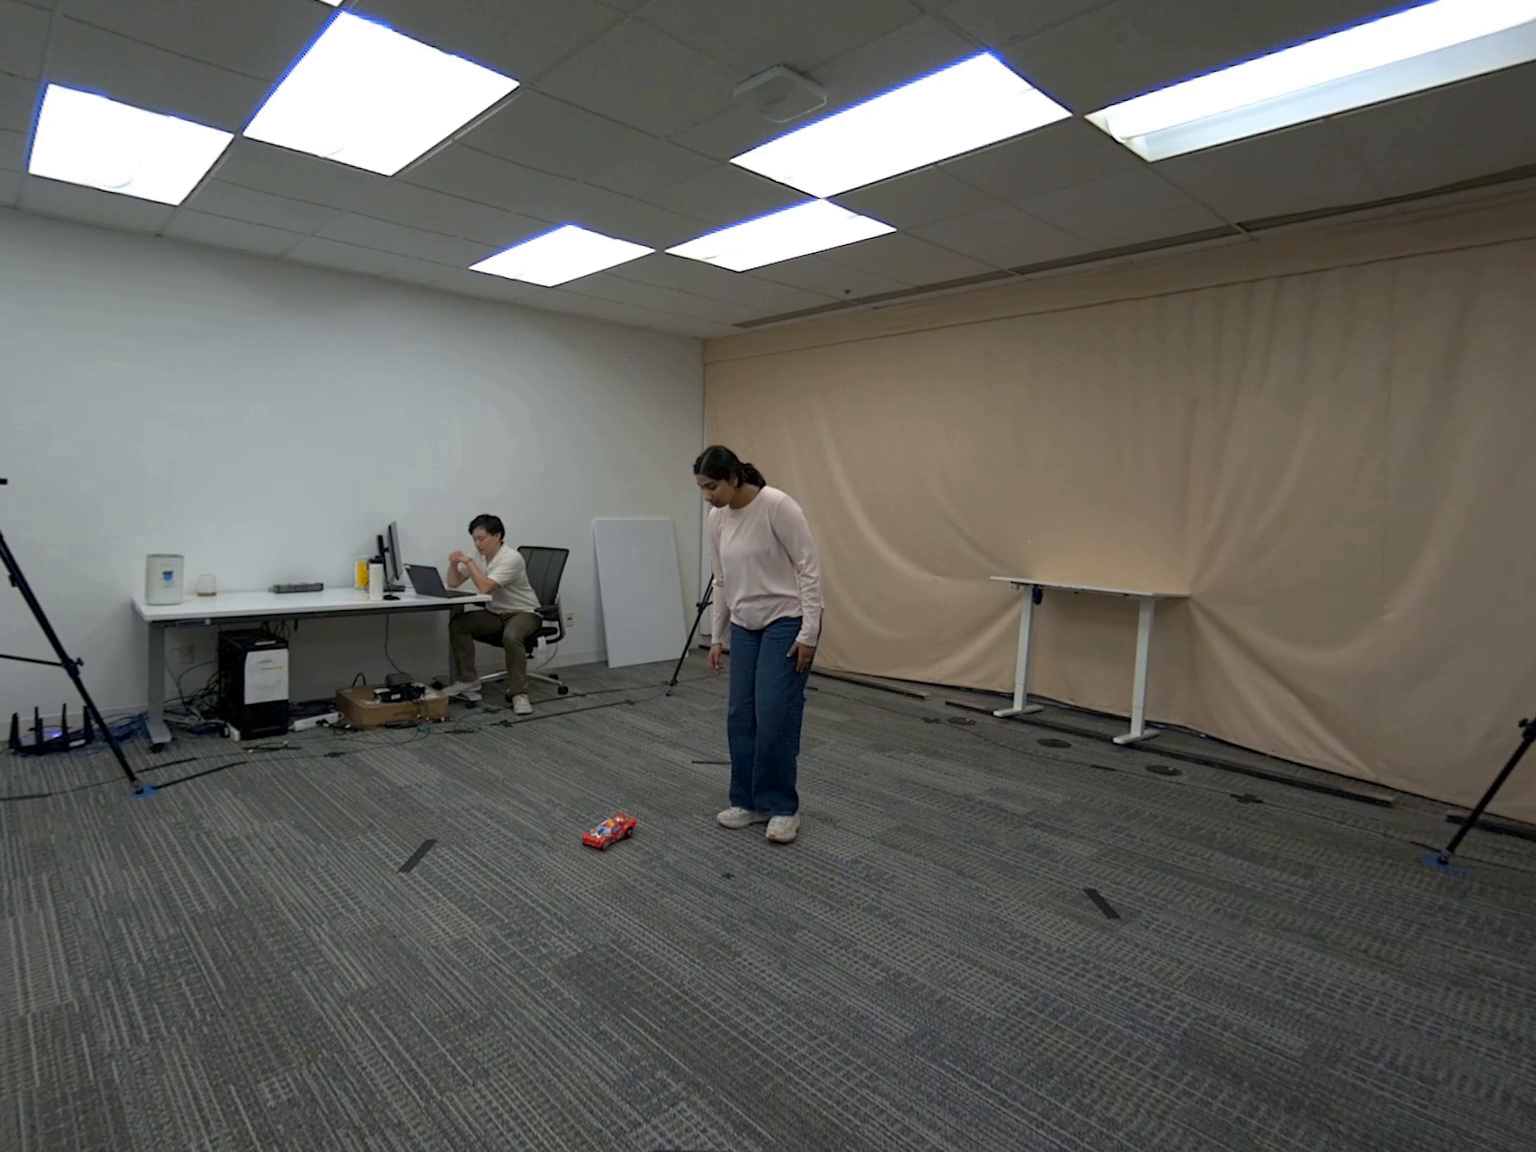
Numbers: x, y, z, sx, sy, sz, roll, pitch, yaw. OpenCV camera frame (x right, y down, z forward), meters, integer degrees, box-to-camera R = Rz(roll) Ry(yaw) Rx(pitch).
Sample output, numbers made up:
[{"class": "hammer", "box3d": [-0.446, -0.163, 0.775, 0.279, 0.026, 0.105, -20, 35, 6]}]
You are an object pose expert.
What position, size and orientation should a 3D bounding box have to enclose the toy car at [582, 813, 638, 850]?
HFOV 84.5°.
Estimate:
[{"class": "toy car", "box3d": [-0.647, 1.038, 3.408, 0.133, 0.082, 0.251, 3, 16, 31]}]
